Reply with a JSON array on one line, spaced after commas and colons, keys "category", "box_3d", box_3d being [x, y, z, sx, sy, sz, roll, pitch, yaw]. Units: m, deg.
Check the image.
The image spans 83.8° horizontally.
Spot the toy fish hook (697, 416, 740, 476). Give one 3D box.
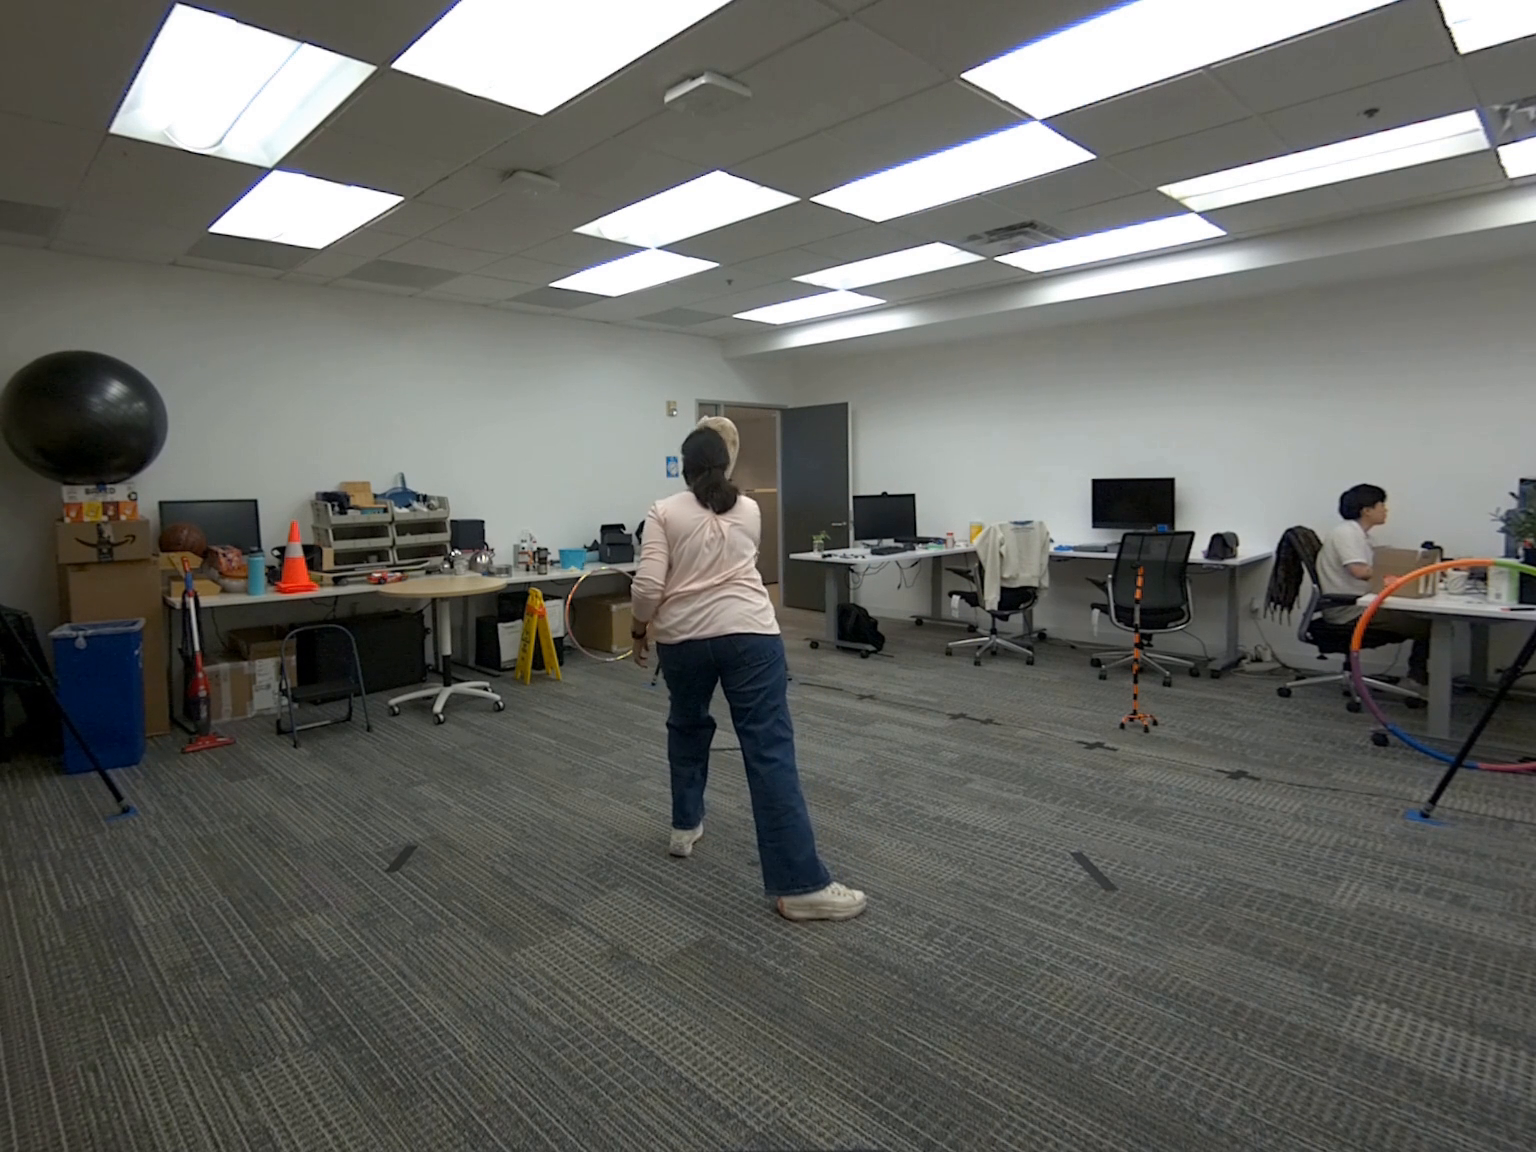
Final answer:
[{"category": "toy fish hook", "box_3d": [-0.238, -0.415, 3.600, 0.221, 0.503, 0.049, 2, 8, -16]}]
